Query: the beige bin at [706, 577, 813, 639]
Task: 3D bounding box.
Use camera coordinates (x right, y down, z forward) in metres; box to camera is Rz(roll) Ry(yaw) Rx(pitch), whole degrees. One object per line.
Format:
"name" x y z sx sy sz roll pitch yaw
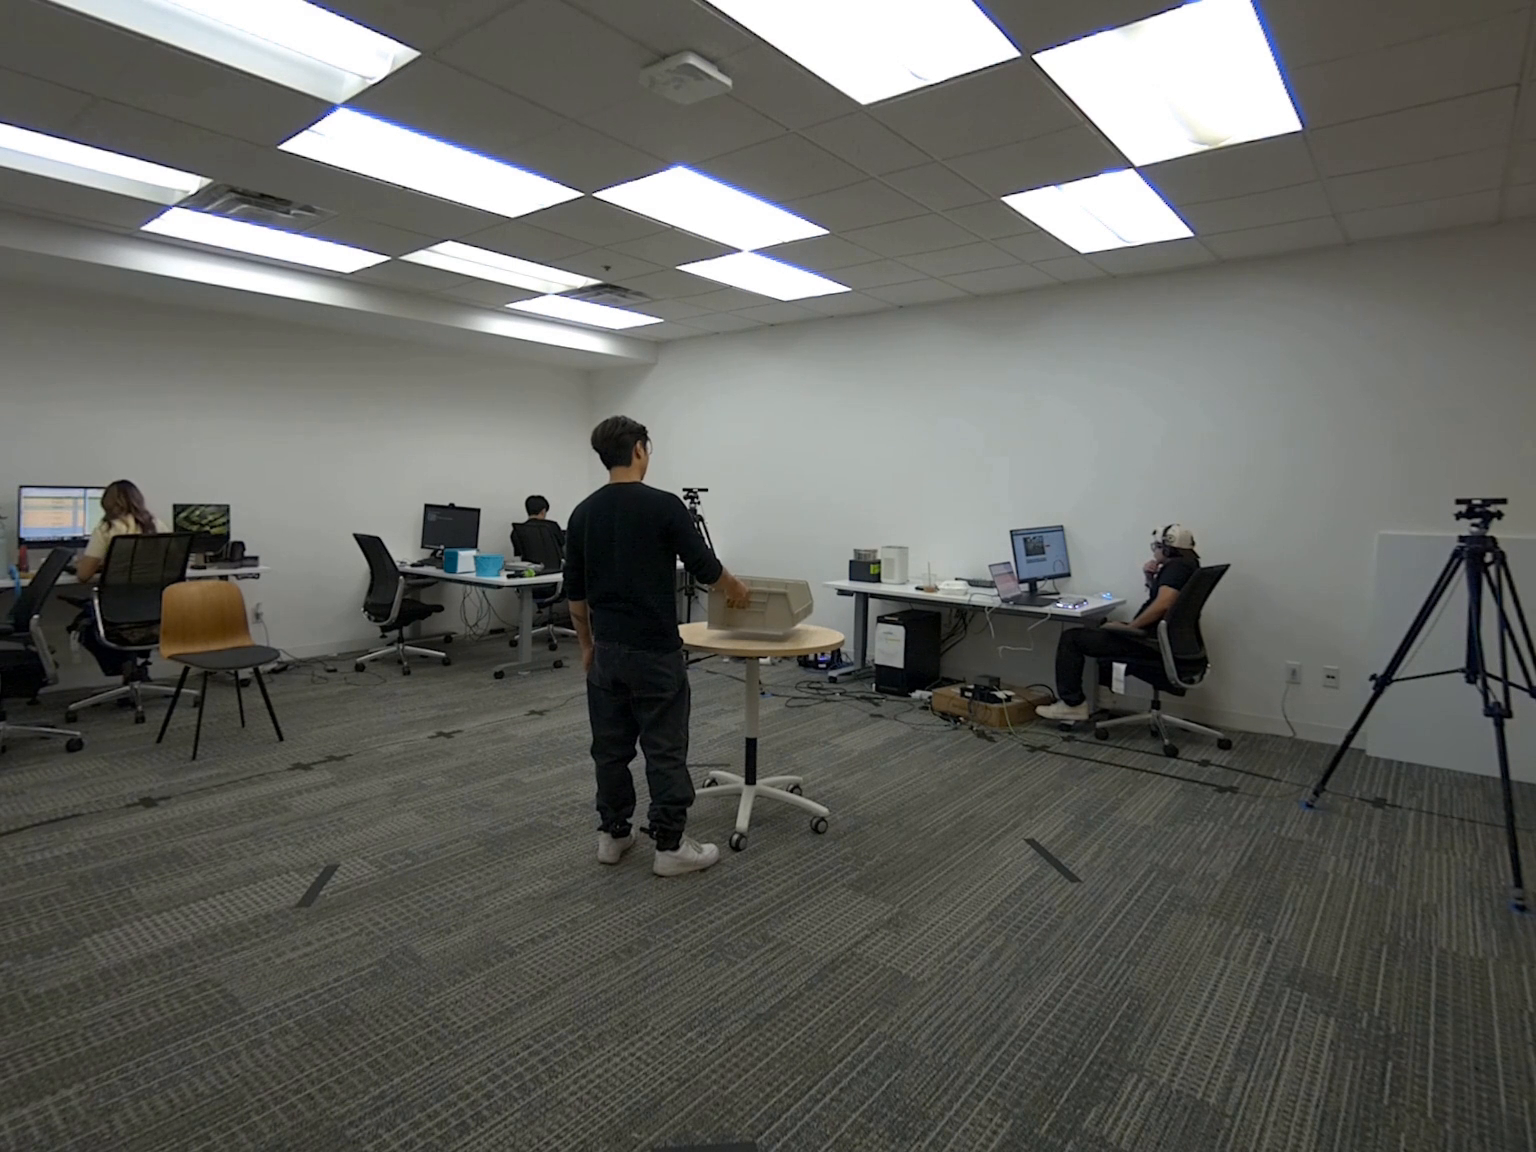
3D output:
"beige bin" -0.036 0.119 3.595 0.384 0.188 0.417 3 6 14
